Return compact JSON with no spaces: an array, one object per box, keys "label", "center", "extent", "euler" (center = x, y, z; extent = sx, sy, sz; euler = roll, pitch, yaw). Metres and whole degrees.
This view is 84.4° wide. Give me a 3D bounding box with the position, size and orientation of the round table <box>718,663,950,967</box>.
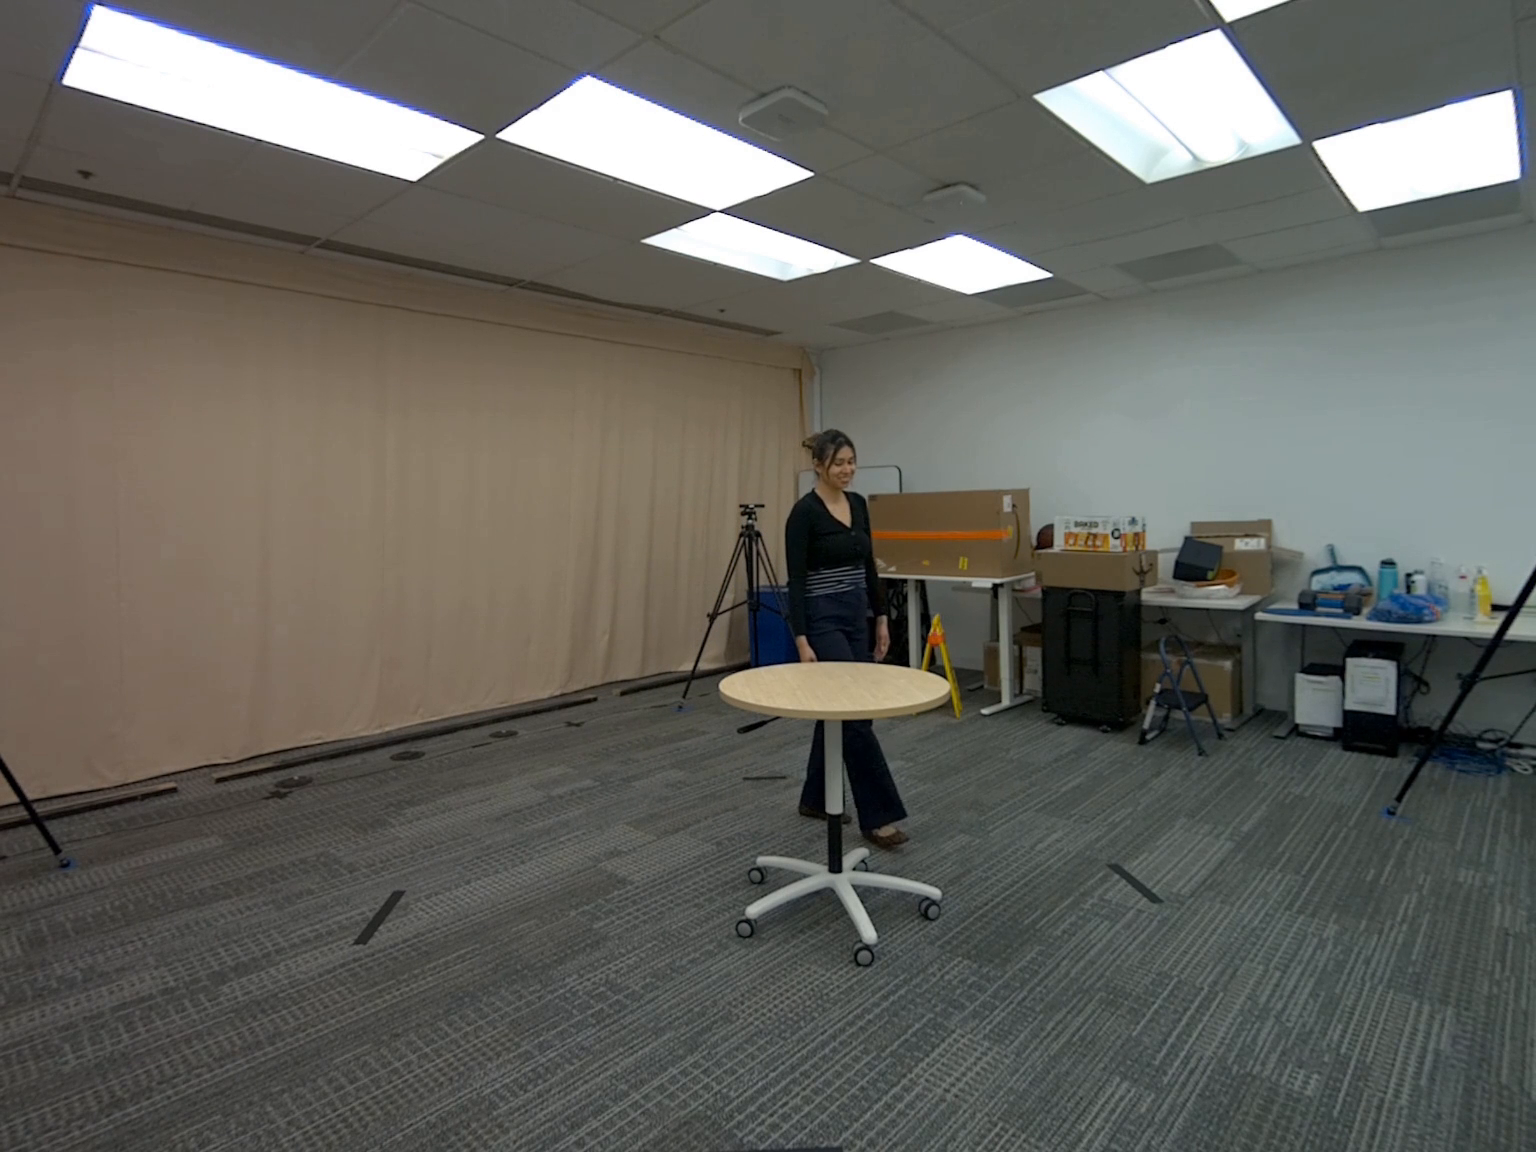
[{"label":"round table","center":[0.223,0.757,2.852],"extent":[0.763,0.792,0.767],"euler":[-1,4,-2]}]
